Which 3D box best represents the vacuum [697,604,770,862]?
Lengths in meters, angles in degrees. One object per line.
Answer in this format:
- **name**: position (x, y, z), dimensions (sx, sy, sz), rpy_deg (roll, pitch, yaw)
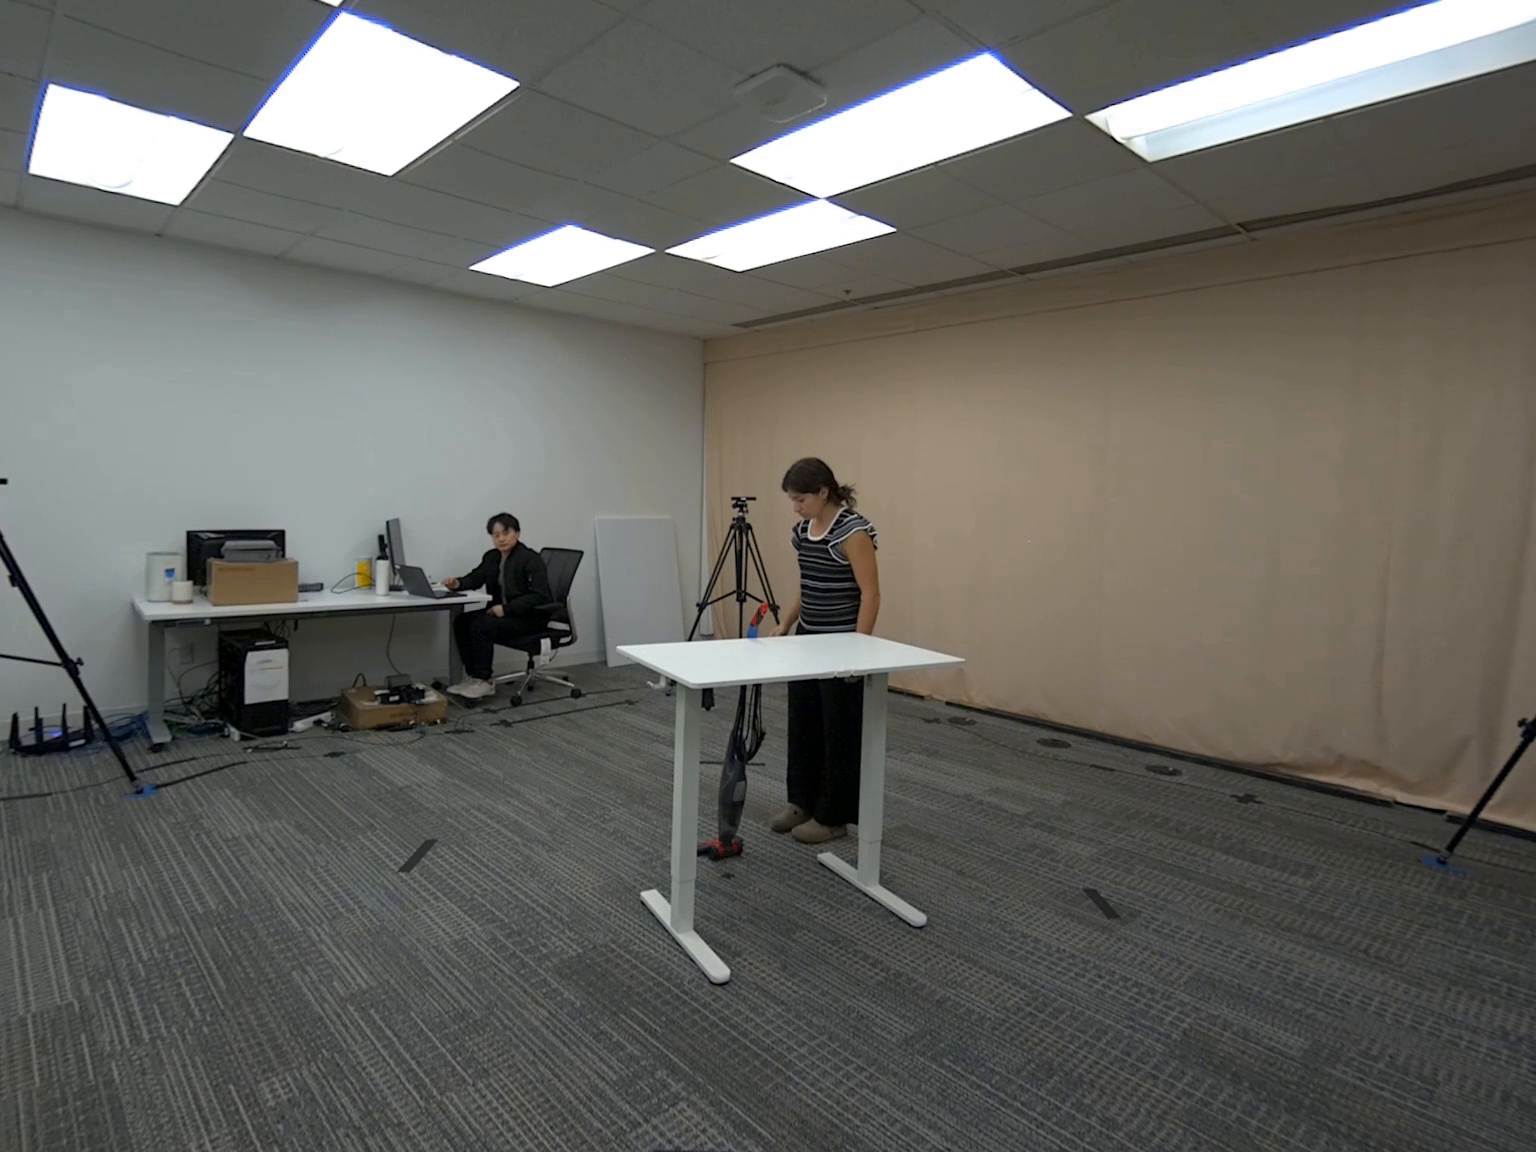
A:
- **vacuum**: position (-0.110, 0.600, 3.165), dimensions (0.247, 1.039, 0.148), rpy_deg (-1, 20, -32)
